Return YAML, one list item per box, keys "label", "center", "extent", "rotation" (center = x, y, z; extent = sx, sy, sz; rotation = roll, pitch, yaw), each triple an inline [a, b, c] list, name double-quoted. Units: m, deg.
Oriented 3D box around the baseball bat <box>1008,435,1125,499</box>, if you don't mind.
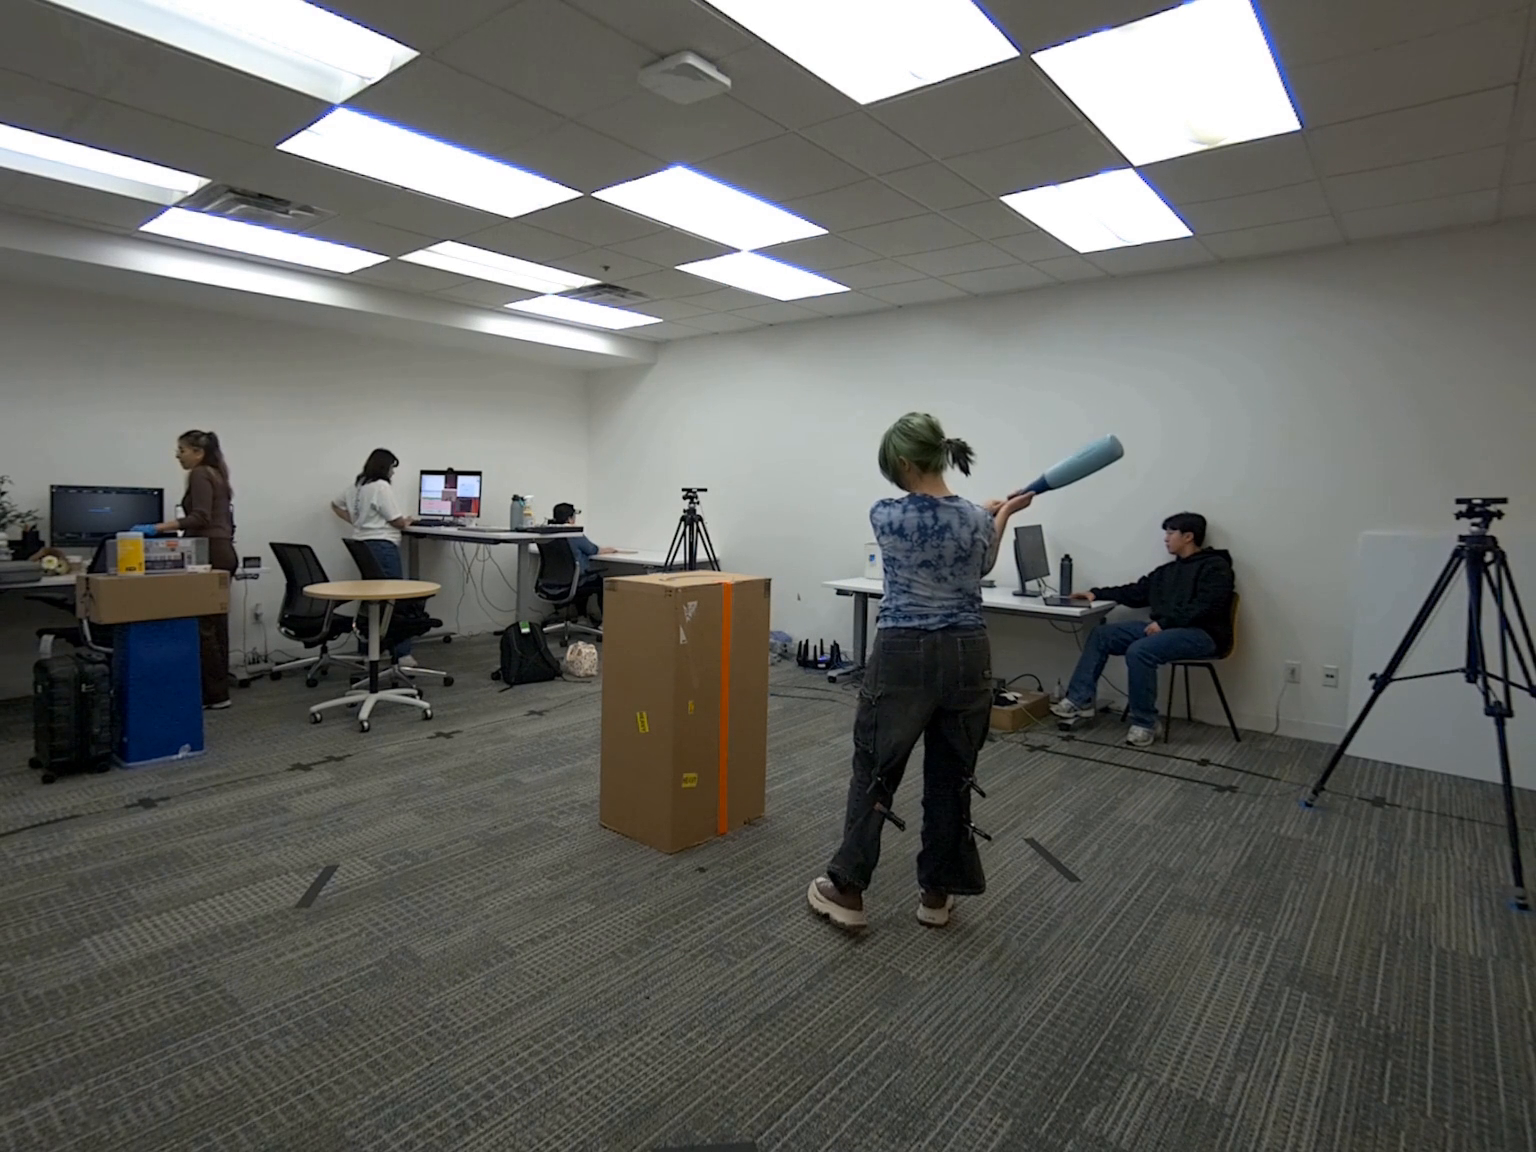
- label: "baseball bat"
  center: [0.914, -0.309, 2.892]
  extent: [0.086, 0.091, 0.549]
  rotation: [-3, -21, -44]
